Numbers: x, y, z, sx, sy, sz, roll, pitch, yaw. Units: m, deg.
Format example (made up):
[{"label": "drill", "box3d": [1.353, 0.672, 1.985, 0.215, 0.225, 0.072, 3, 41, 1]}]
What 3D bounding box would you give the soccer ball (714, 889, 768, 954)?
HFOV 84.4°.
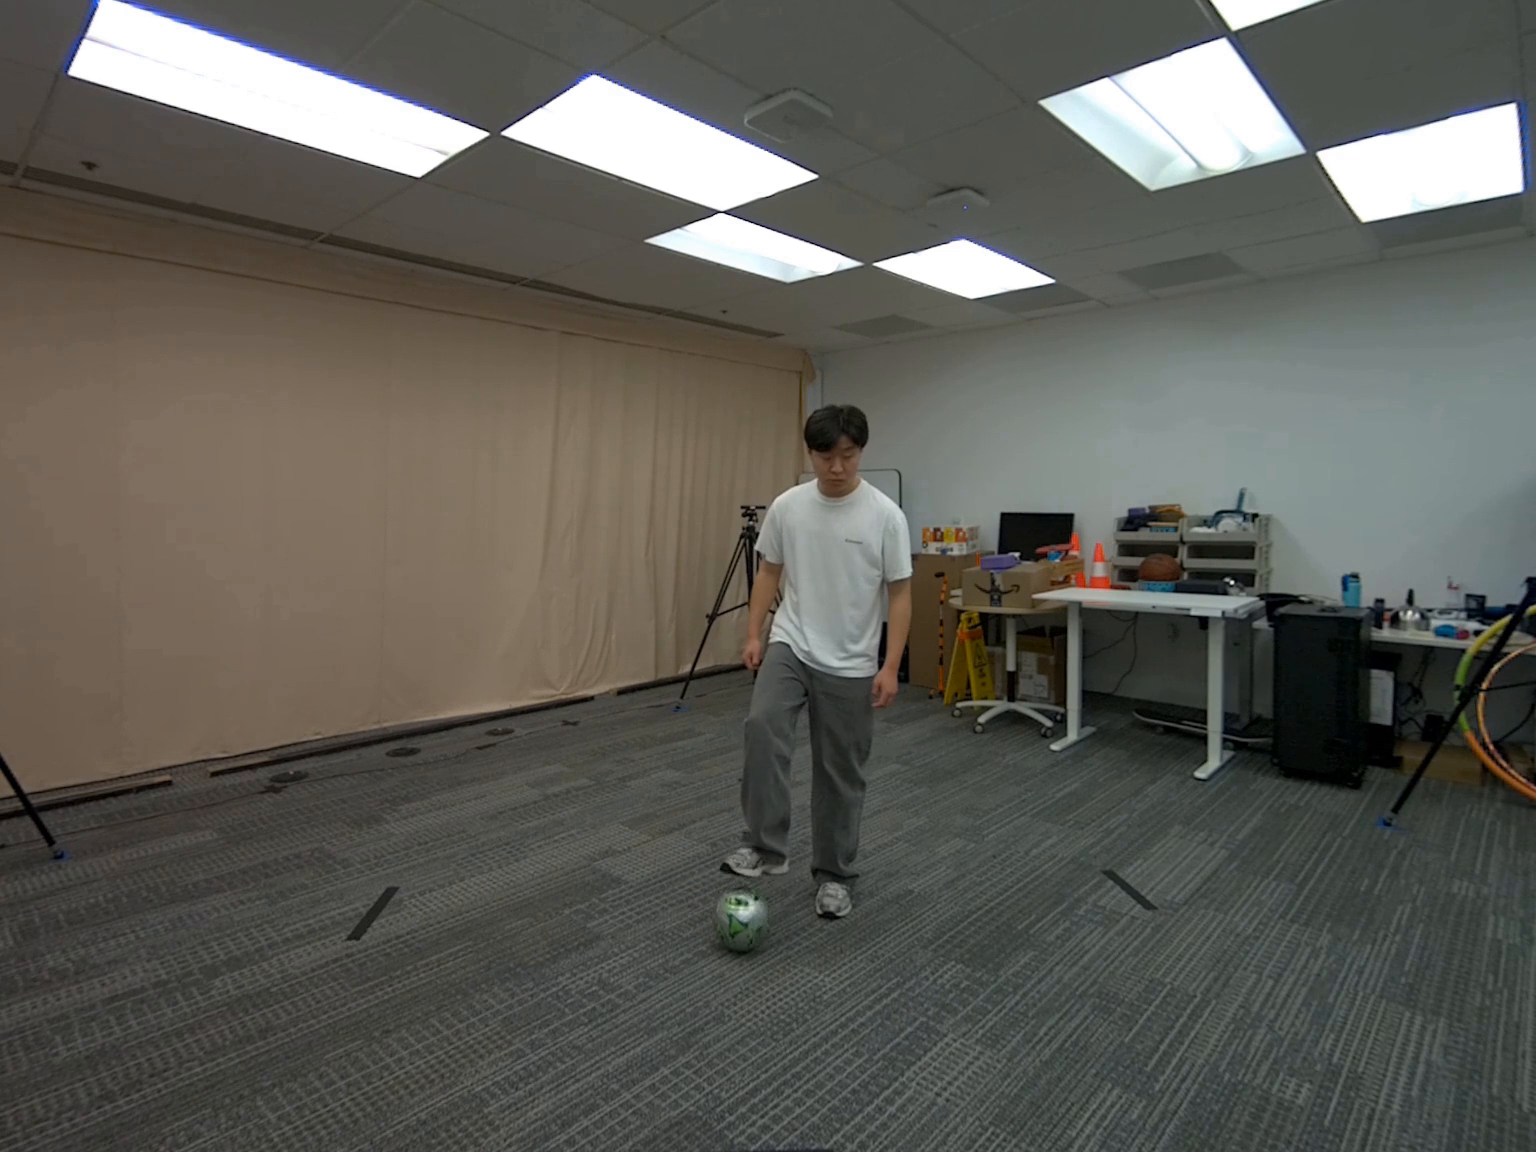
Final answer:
[{"label": "soccer ball", "box3d": [-0.079, 1.077, 2.662, 0.187, 0.187, 0.188, 0, 4, -2]}]
